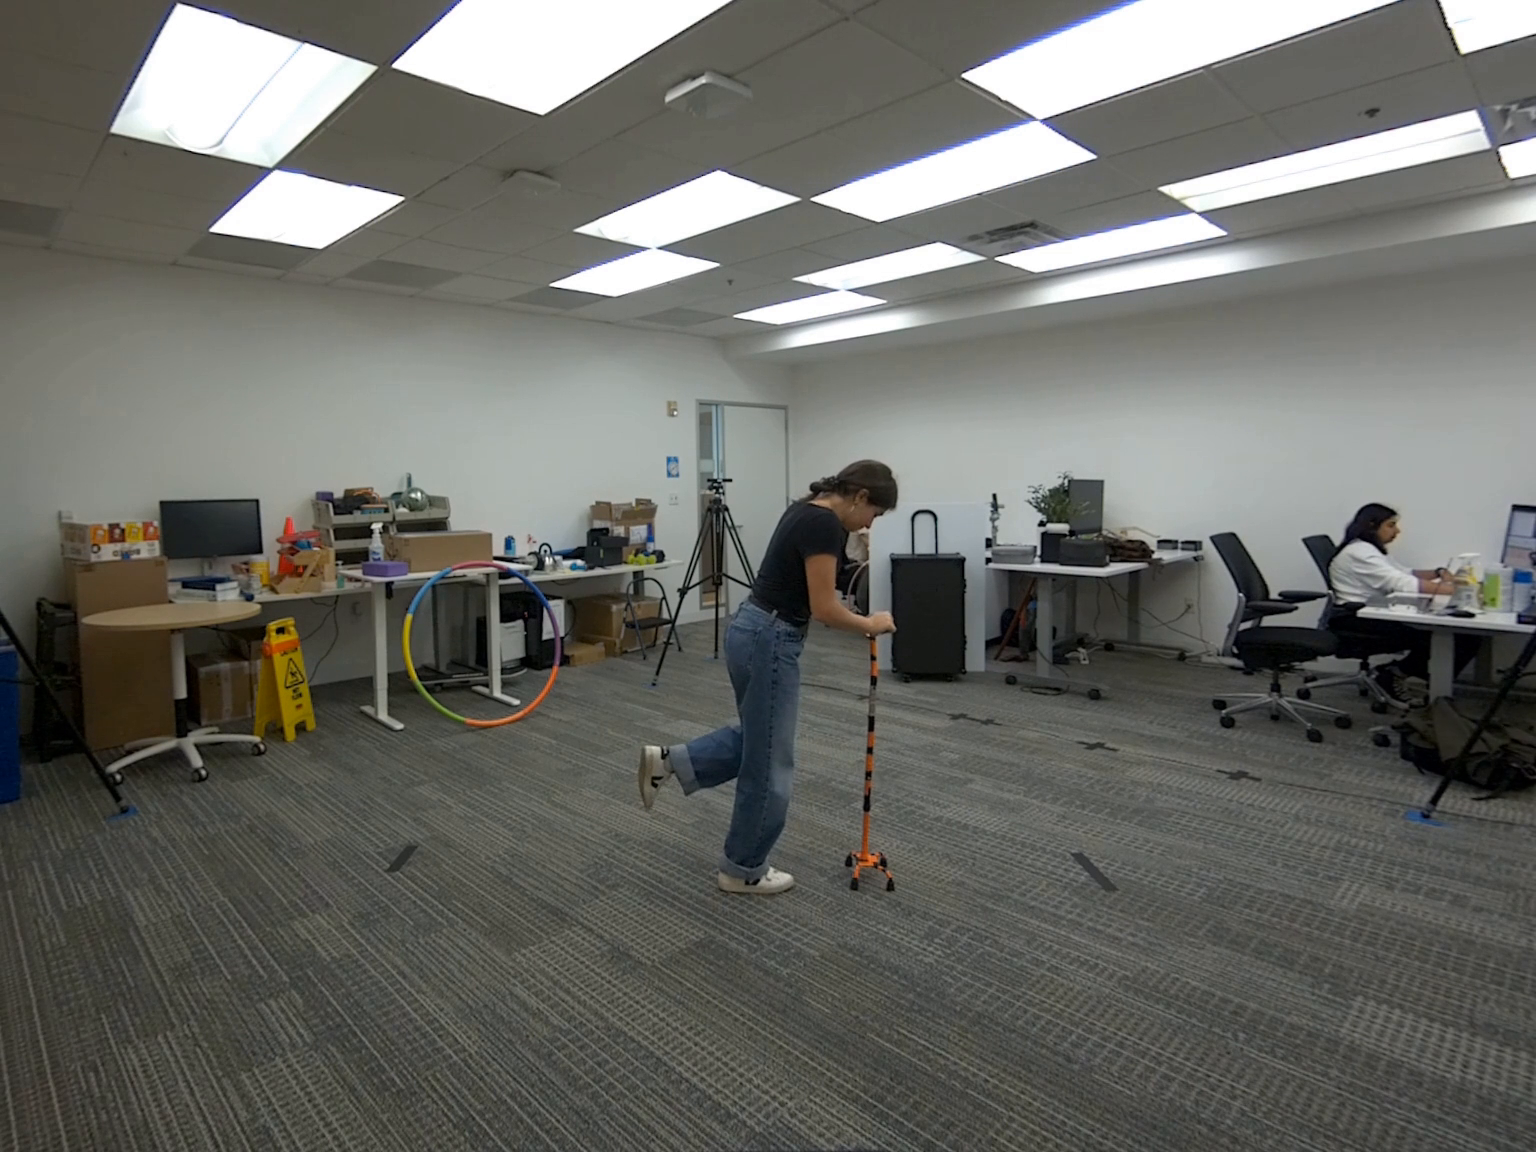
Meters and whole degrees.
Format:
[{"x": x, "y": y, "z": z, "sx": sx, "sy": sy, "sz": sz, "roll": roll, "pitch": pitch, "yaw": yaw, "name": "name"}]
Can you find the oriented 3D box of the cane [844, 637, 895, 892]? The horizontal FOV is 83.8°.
[{"x": 0.368, "y": 0.590, "z": 2.958, "sx": 0.152, "sy": 0.905, "sz": 0.207, "roll": 2, "pitch": 3, "yaw": 1, "name": "cane"}]
